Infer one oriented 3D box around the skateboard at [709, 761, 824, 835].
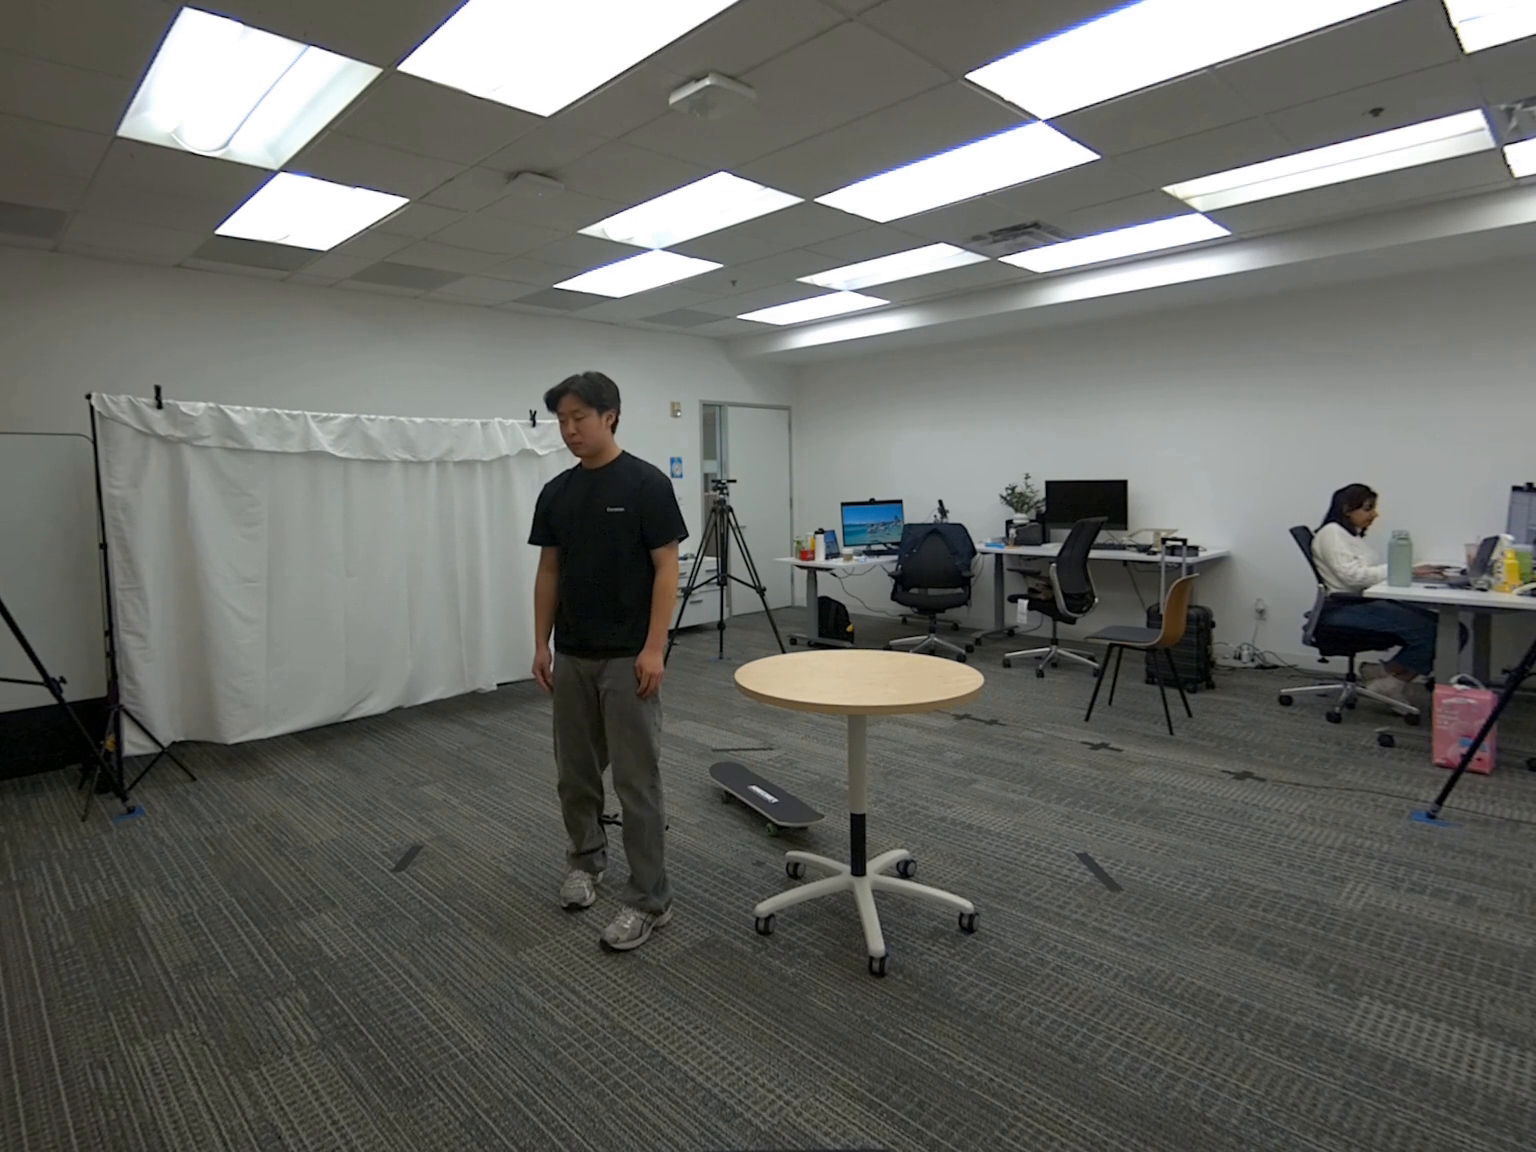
[{"bbox_3d":[-0.021,0.938,3.557,0.189,0.110,0.807,-3,6,-29],"label":"skateboard"}]
